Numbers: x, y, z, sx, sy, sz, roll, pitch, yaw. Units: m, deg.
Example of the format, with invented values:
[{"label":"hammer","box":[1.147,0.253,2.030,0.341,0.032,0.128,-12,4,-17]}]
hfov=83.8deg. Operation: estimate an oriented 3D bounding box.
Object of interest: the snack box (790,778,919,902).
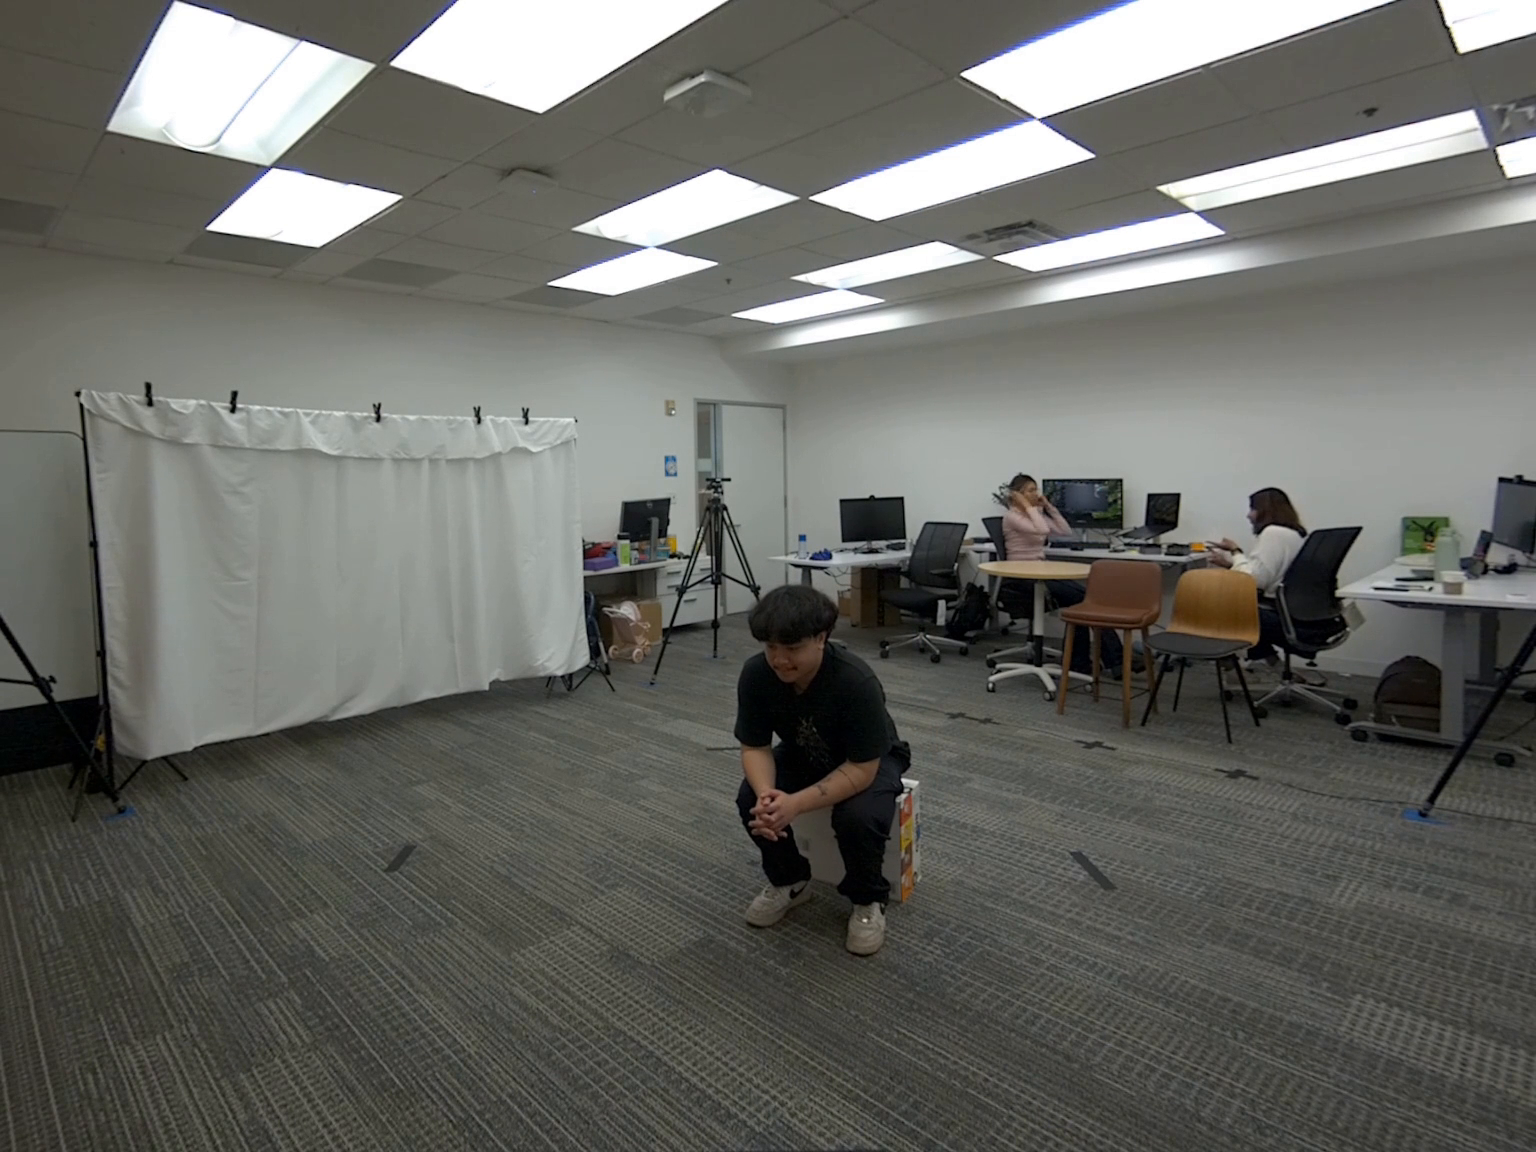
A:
[{"label":"snack box","box":[0.309,0.884,2.979,0.416,0.339,0.201,1,4,30]}]
